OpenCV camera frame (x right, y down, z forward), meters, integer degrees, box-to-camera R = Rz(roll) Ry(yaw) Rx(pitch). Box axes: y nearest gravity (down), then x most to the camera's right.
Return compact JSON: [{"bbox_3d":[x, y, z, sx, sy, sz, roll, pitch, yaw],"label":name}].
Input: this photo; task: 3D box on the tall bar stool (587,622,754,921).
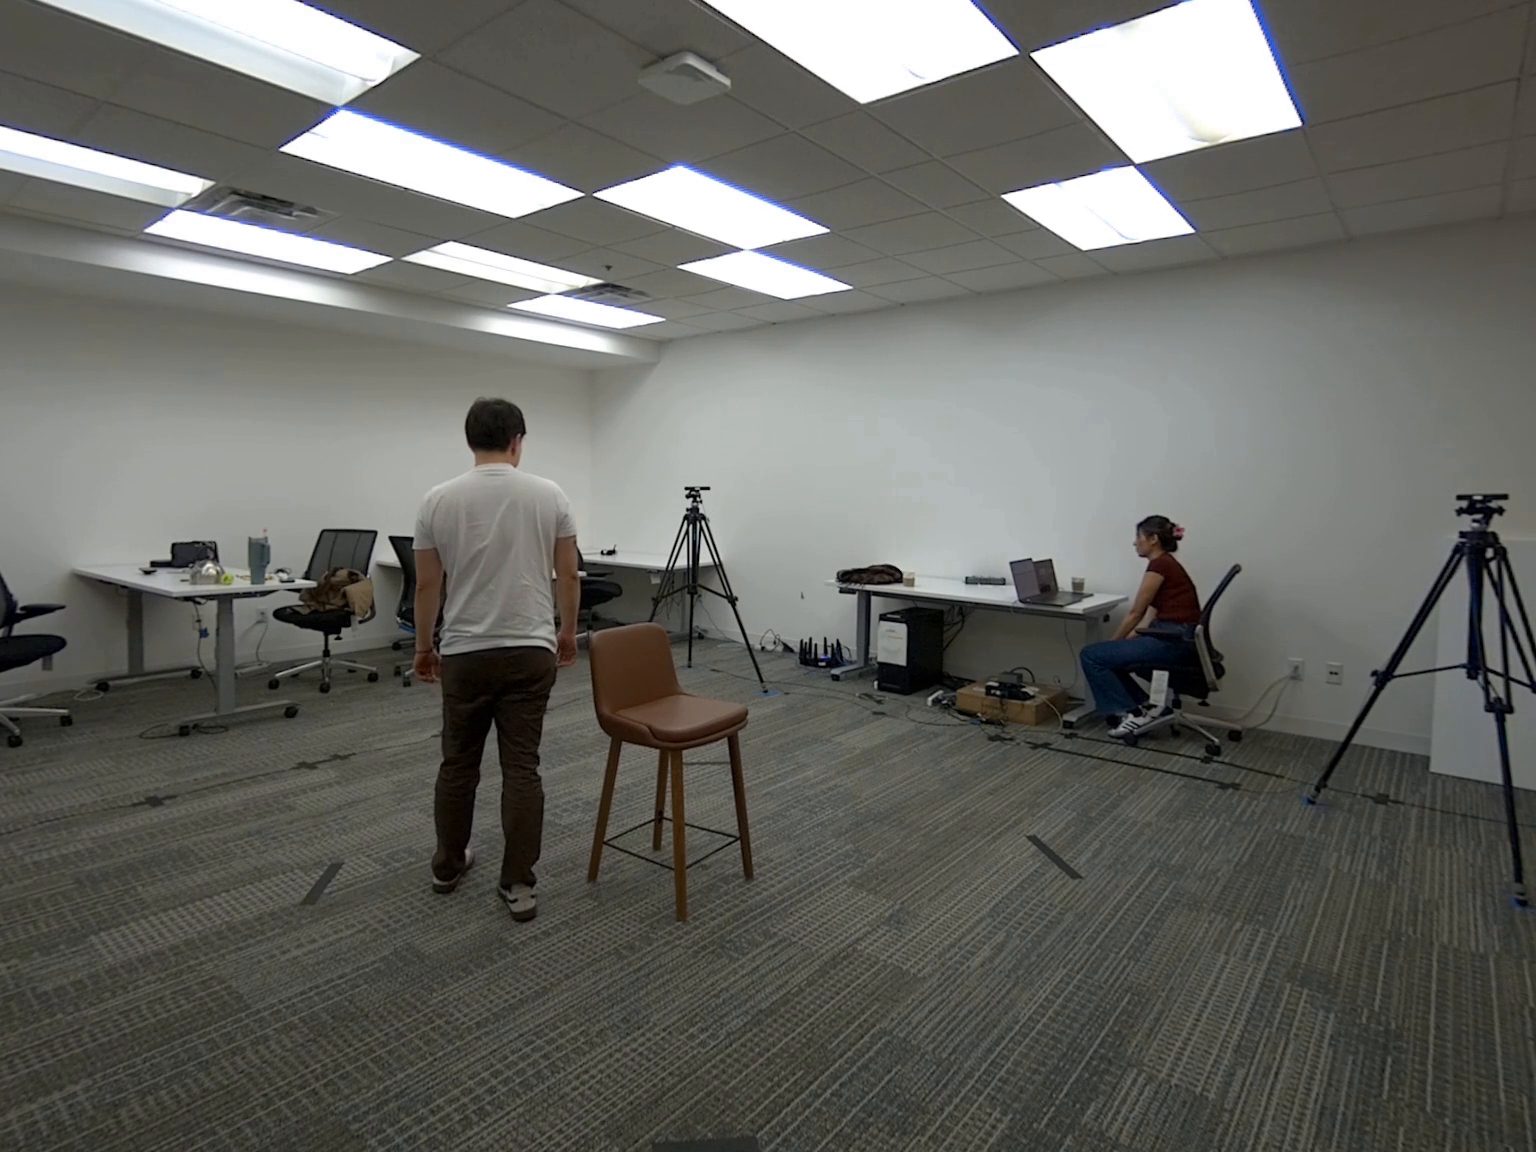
[{"bbox_3d":[-0.355,0.639,2.994,0.482,0.889,0.443,0,2,35],"label":"tall bar stool"}]
